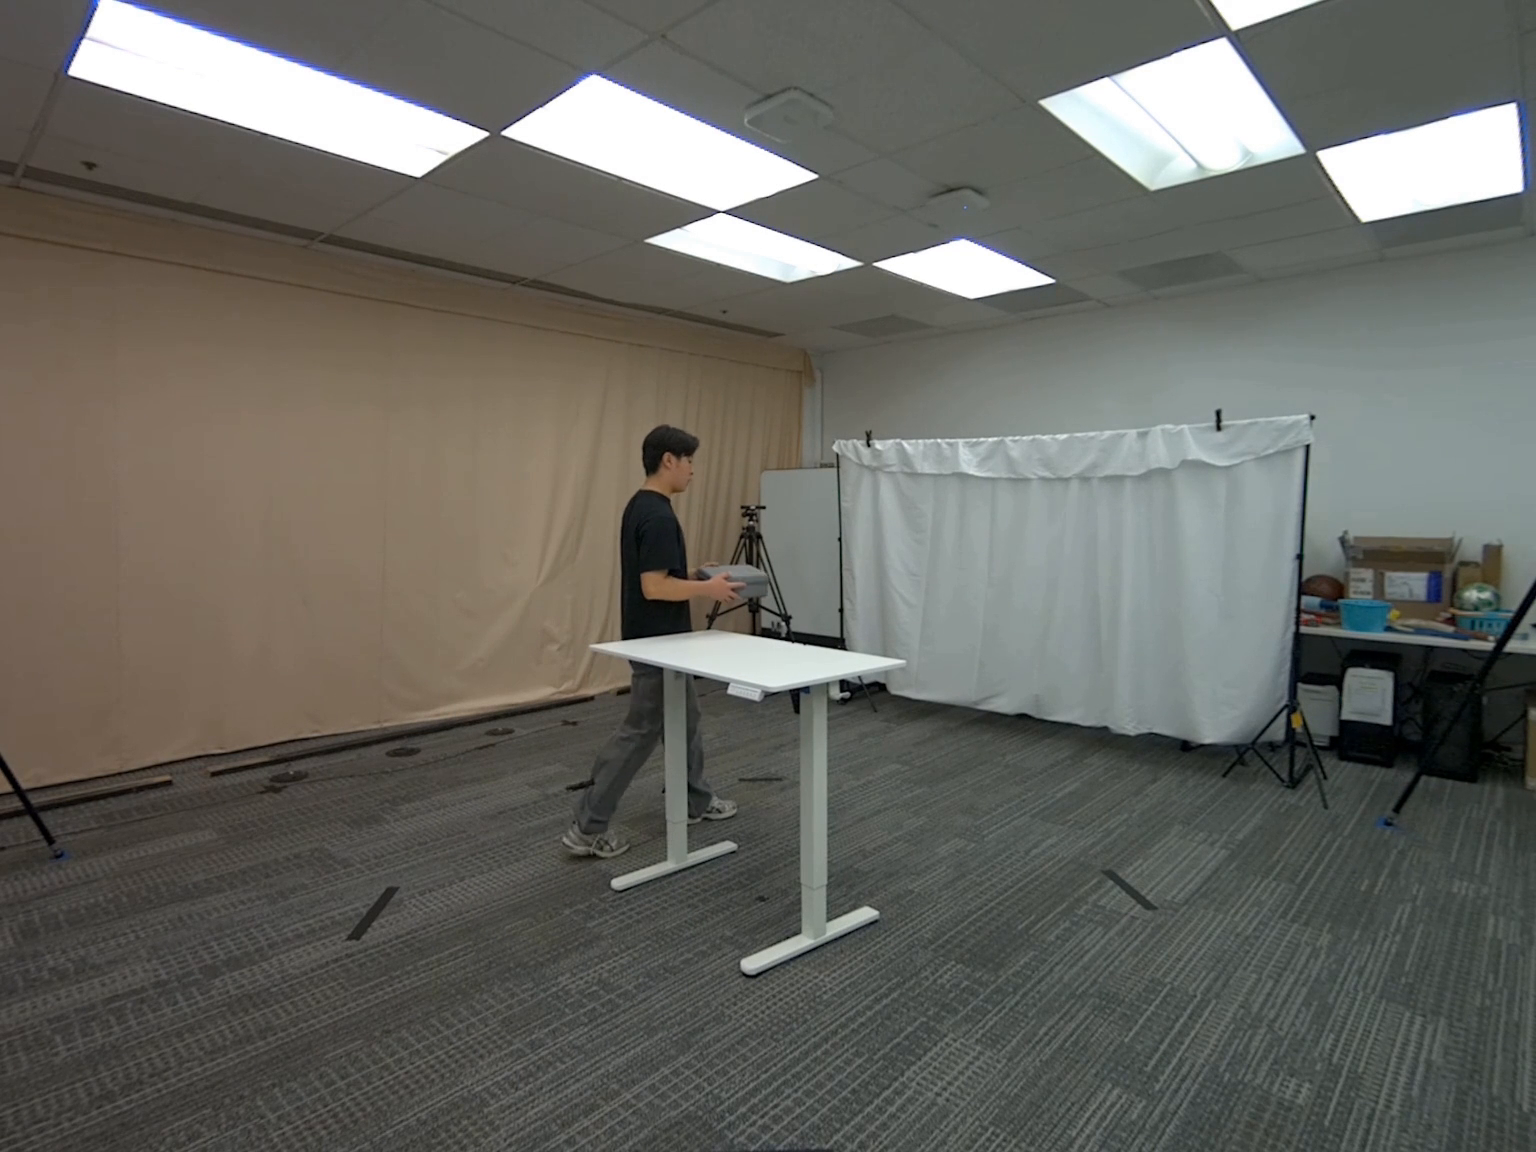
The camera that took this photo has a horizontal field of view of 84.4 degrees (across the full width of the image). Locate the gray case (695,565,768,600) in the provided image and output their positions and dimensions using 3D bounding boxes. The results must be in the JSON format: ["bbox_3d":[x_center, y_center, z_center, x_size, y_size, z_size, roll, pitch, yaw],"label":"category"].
[{"bbox_3d":[-0.159,0.023,3.547,0.282,0.102,0.269,-3,12,-17],"label":"gray case"}]
